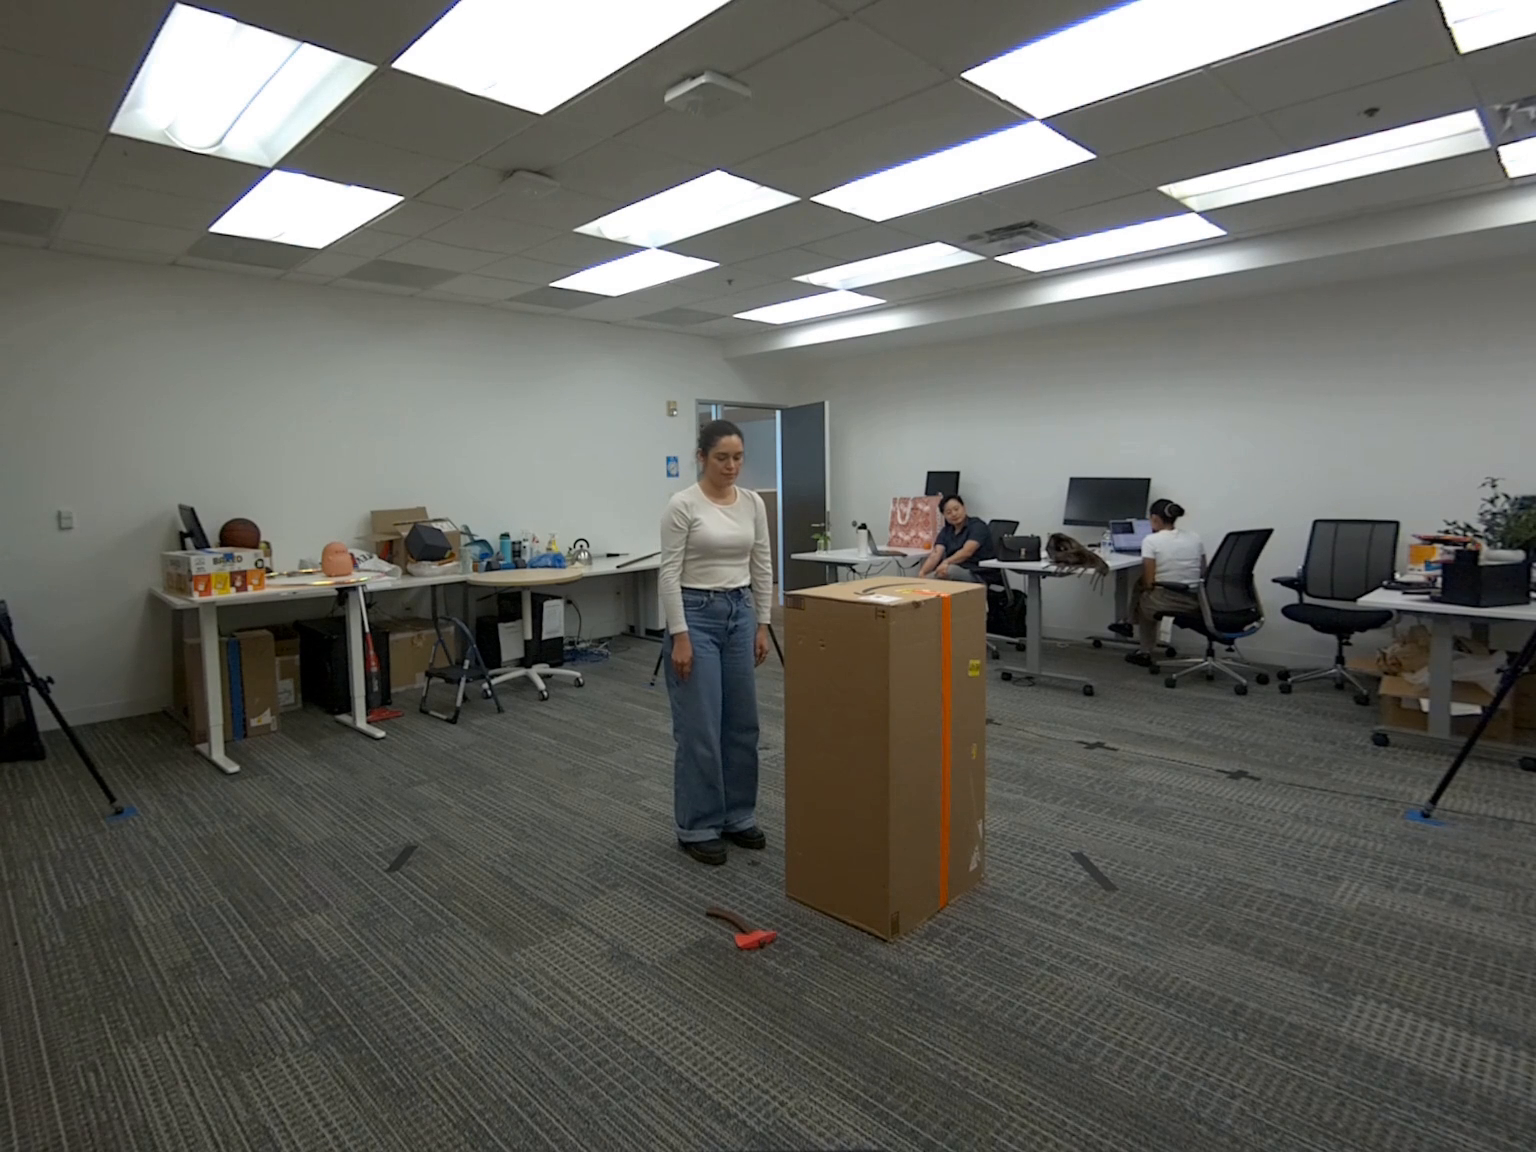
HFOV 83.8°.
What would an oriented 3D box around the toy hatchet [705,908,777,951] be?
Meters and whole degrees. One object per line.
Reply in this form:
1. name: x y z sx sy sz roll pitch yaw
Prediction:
1. toy hatchet: -0.111 1.093 2.637 0.278 0.029 0.128 3 10 41
